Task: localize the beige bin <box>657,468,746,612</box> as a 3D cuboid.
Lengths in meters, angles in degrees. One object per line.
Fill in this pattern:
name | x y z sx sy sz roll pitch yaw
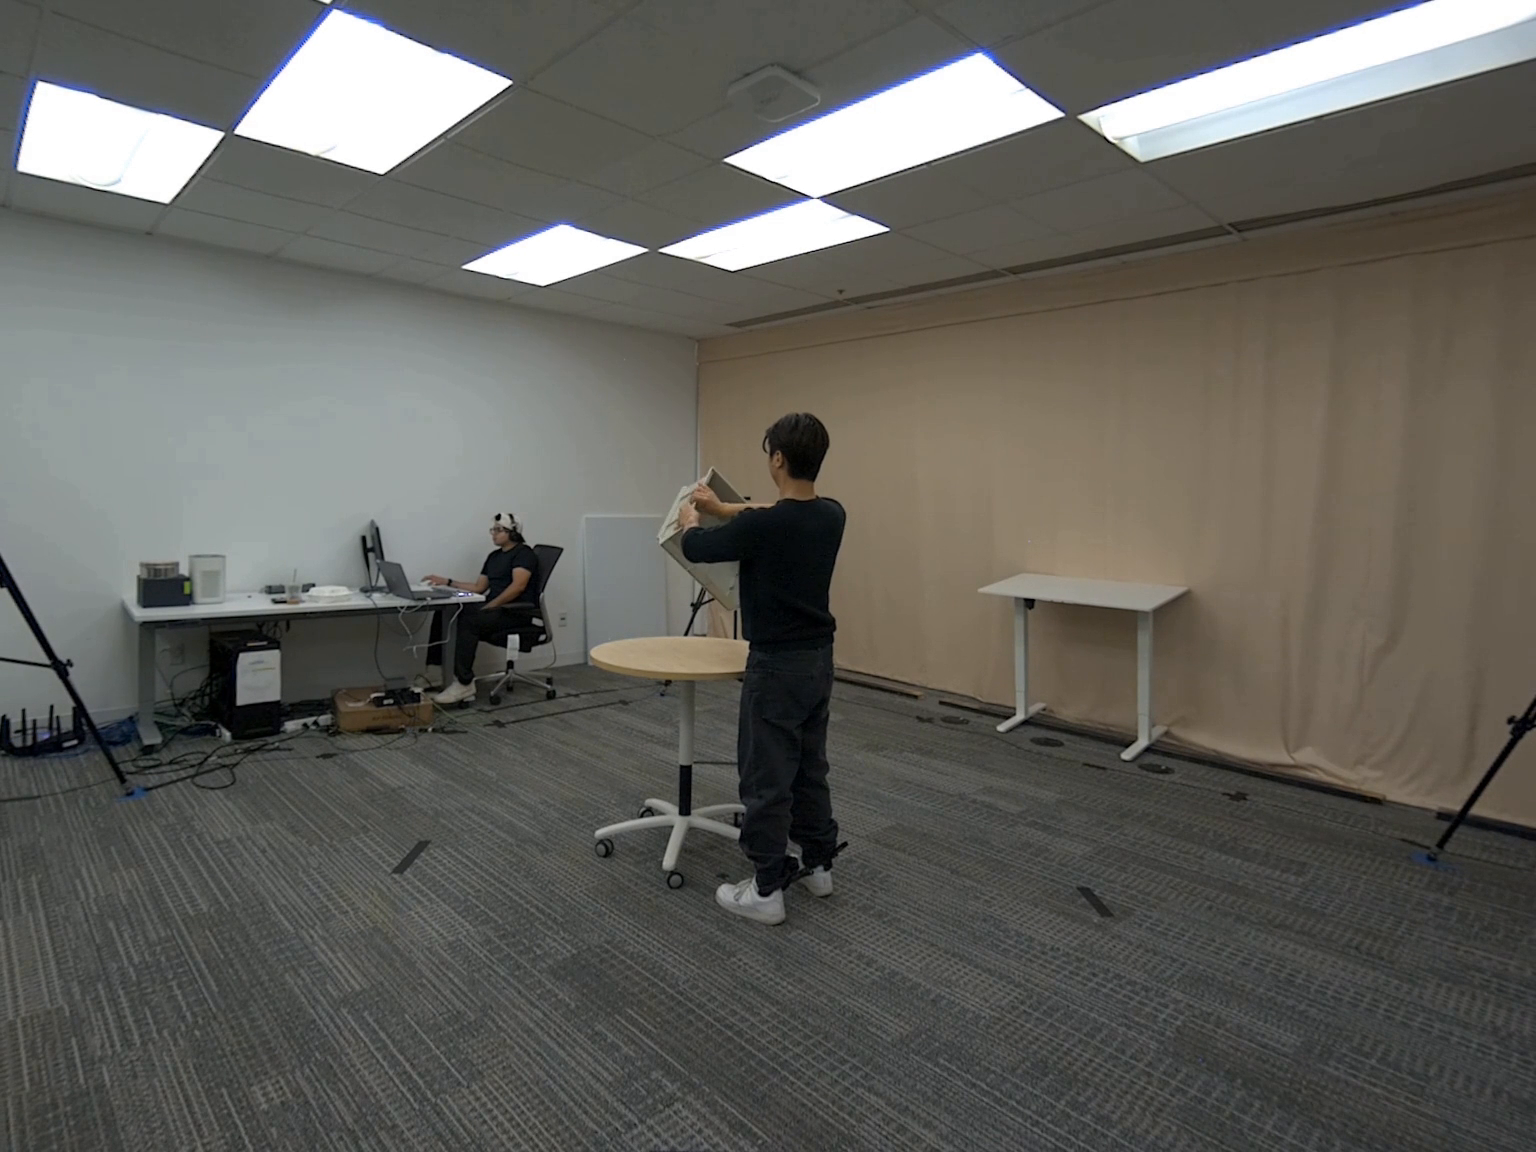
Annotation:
beige bin | -0.207 -0.143 3.332 0.191 0.382 0.412 -25 -59 38
